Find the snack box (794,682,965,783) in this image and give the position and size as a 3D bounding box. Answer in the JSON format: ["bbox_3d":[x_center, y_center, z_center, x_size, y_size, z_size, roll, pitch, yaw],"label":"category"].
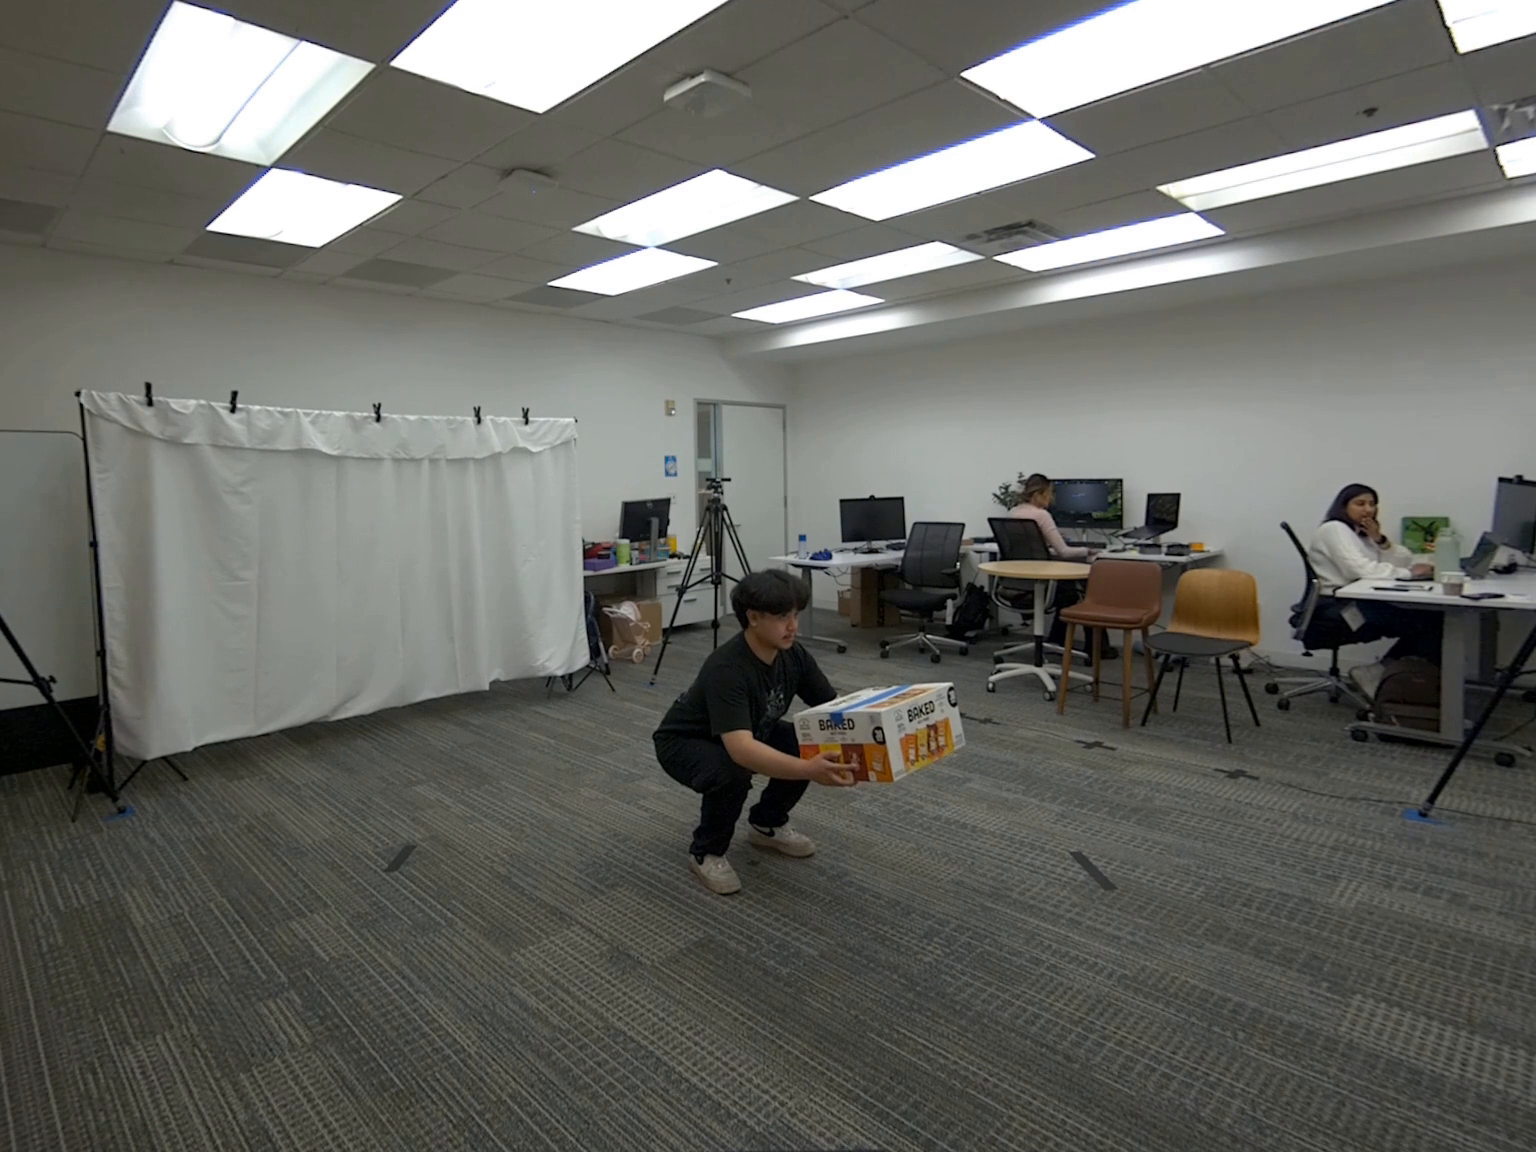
[{"bbox_3d":[0.352,0.491,2.672,0.348,0.206,0.395,-12,-2,44],"label":"snack box"}]
